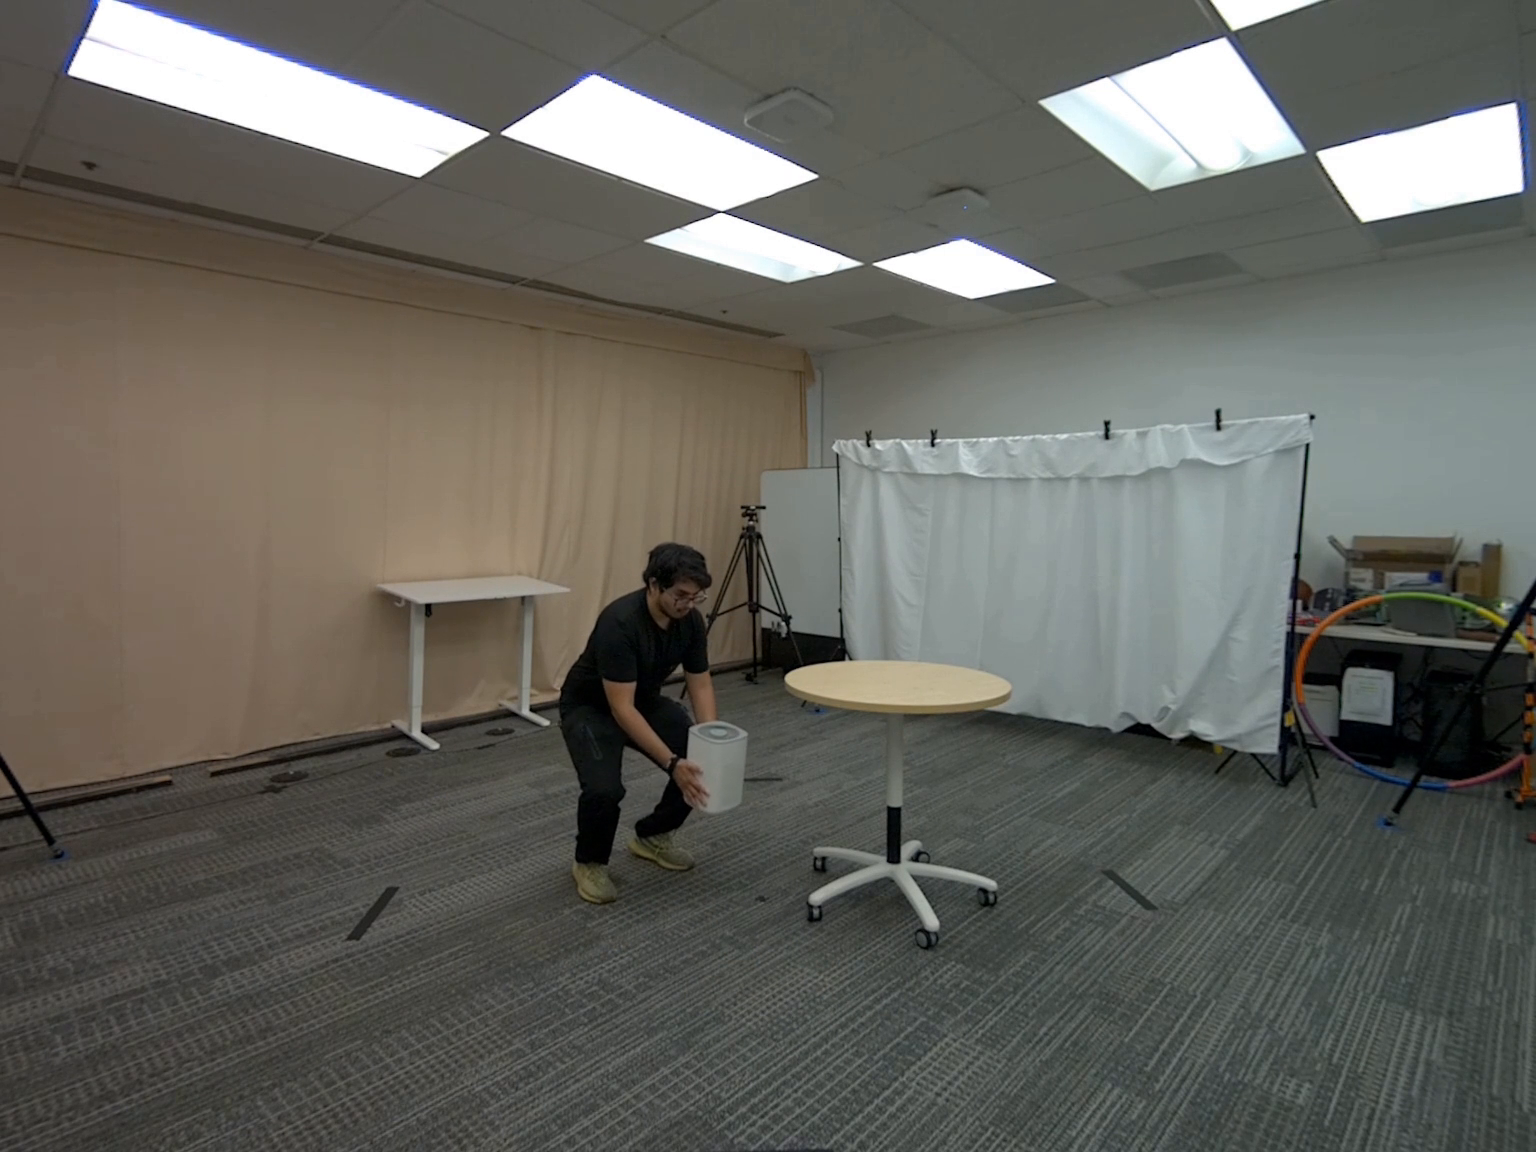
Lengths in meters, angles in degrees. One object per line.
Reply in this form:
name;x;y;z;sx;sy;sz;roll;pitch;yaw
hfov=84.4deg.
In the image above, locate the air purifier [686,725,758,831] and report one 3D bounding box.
air purifier;-0.172;0.663;2.810;0.177;0.264;0.166;13;10;43
